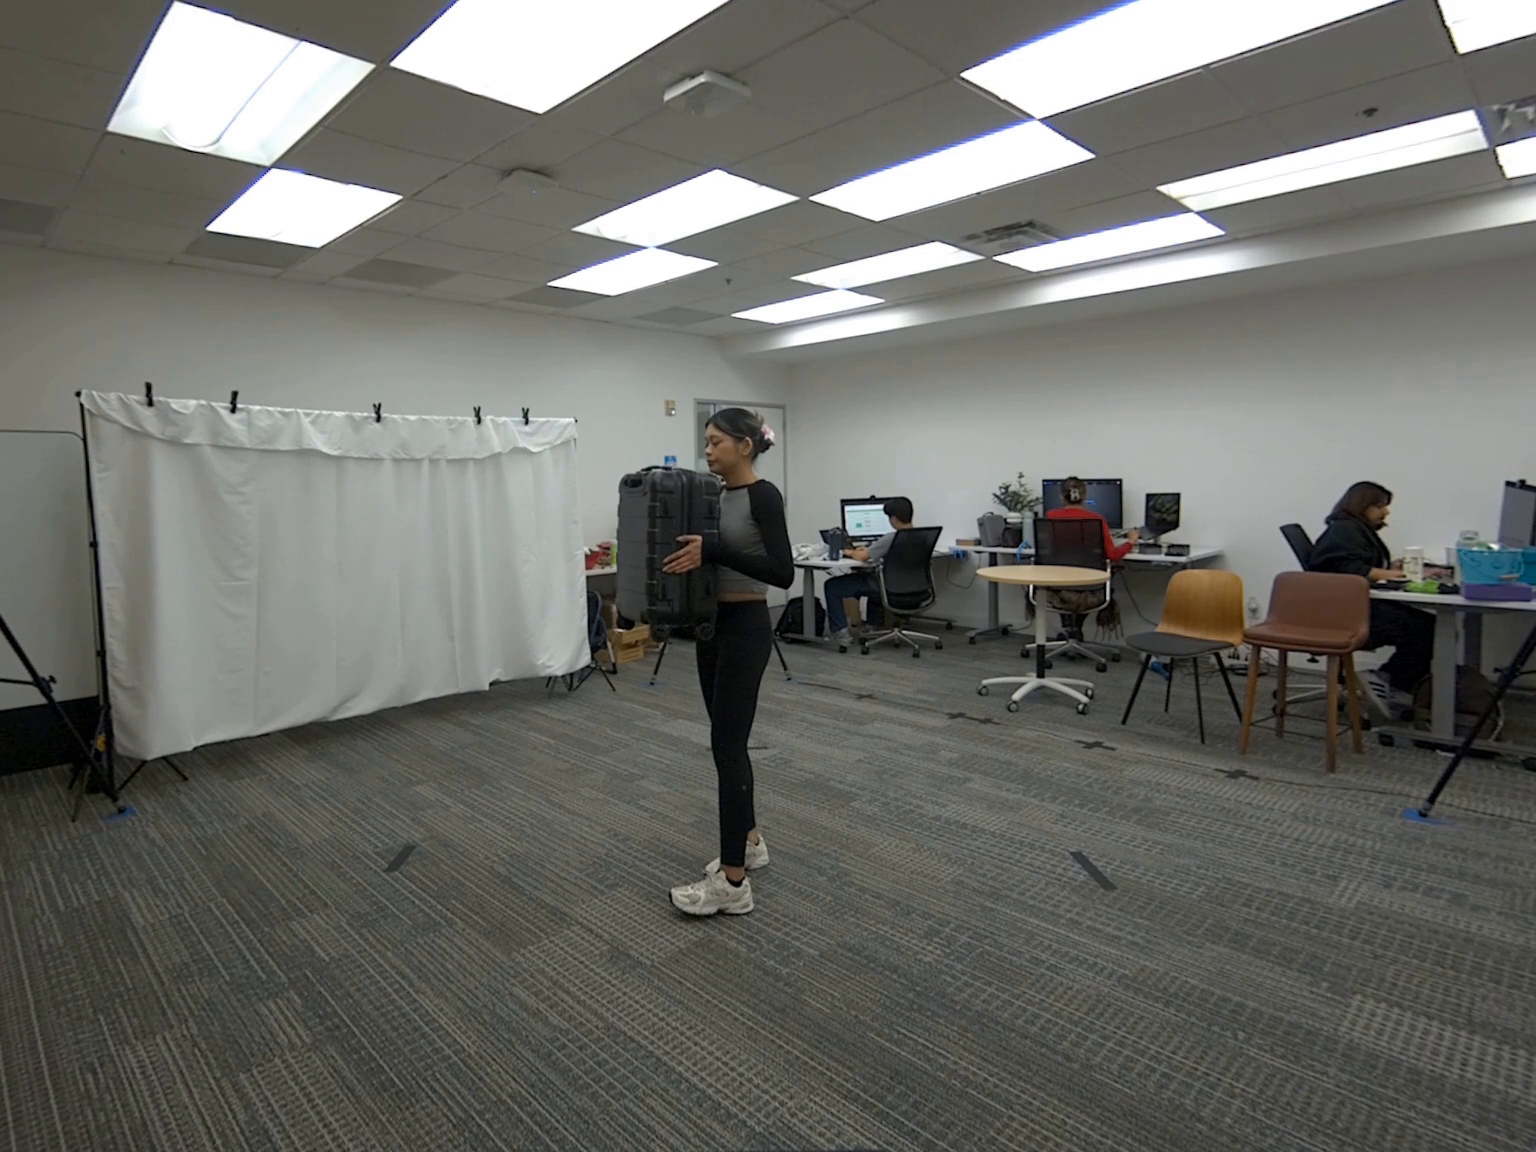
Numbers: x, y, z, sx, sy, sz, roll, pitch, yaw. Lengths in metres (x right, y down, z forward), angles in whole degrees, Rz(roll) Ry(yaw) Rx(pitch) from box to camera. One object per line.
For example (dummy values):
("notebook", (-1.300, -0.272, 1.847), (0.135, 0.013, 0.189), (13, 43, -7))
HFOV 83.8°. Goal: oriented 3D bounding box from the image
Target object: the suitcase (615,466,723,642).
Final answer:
("suitcase", (-0.331, -0.085, 2.819), (0.242, 0.549, 0.385), (1, 1, -31))
